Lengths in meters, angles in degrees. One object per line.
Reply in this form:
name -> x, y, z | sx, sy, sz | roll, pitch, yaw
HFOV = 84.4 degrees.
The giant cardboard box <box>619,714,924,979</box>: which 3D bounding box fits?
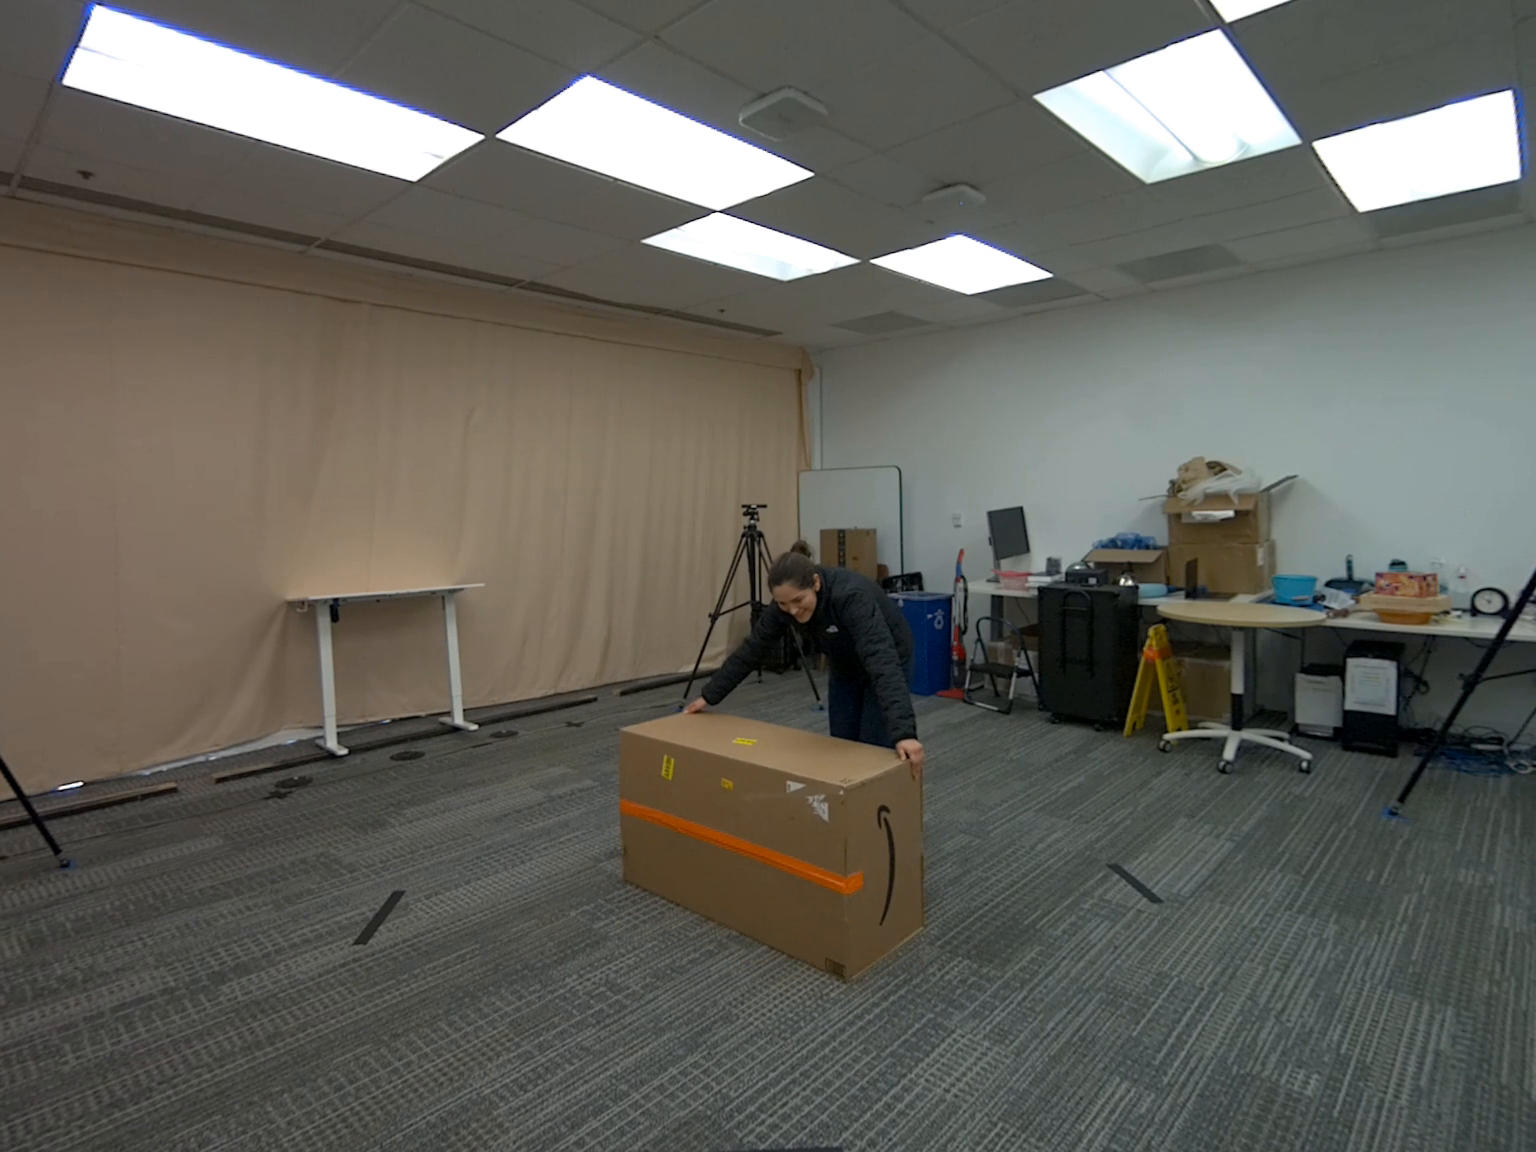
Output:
giant cardboard box -> -0.011, 0.857, 2.926 | 1.061, 0.583, 0.433 | 2, 5, 41
